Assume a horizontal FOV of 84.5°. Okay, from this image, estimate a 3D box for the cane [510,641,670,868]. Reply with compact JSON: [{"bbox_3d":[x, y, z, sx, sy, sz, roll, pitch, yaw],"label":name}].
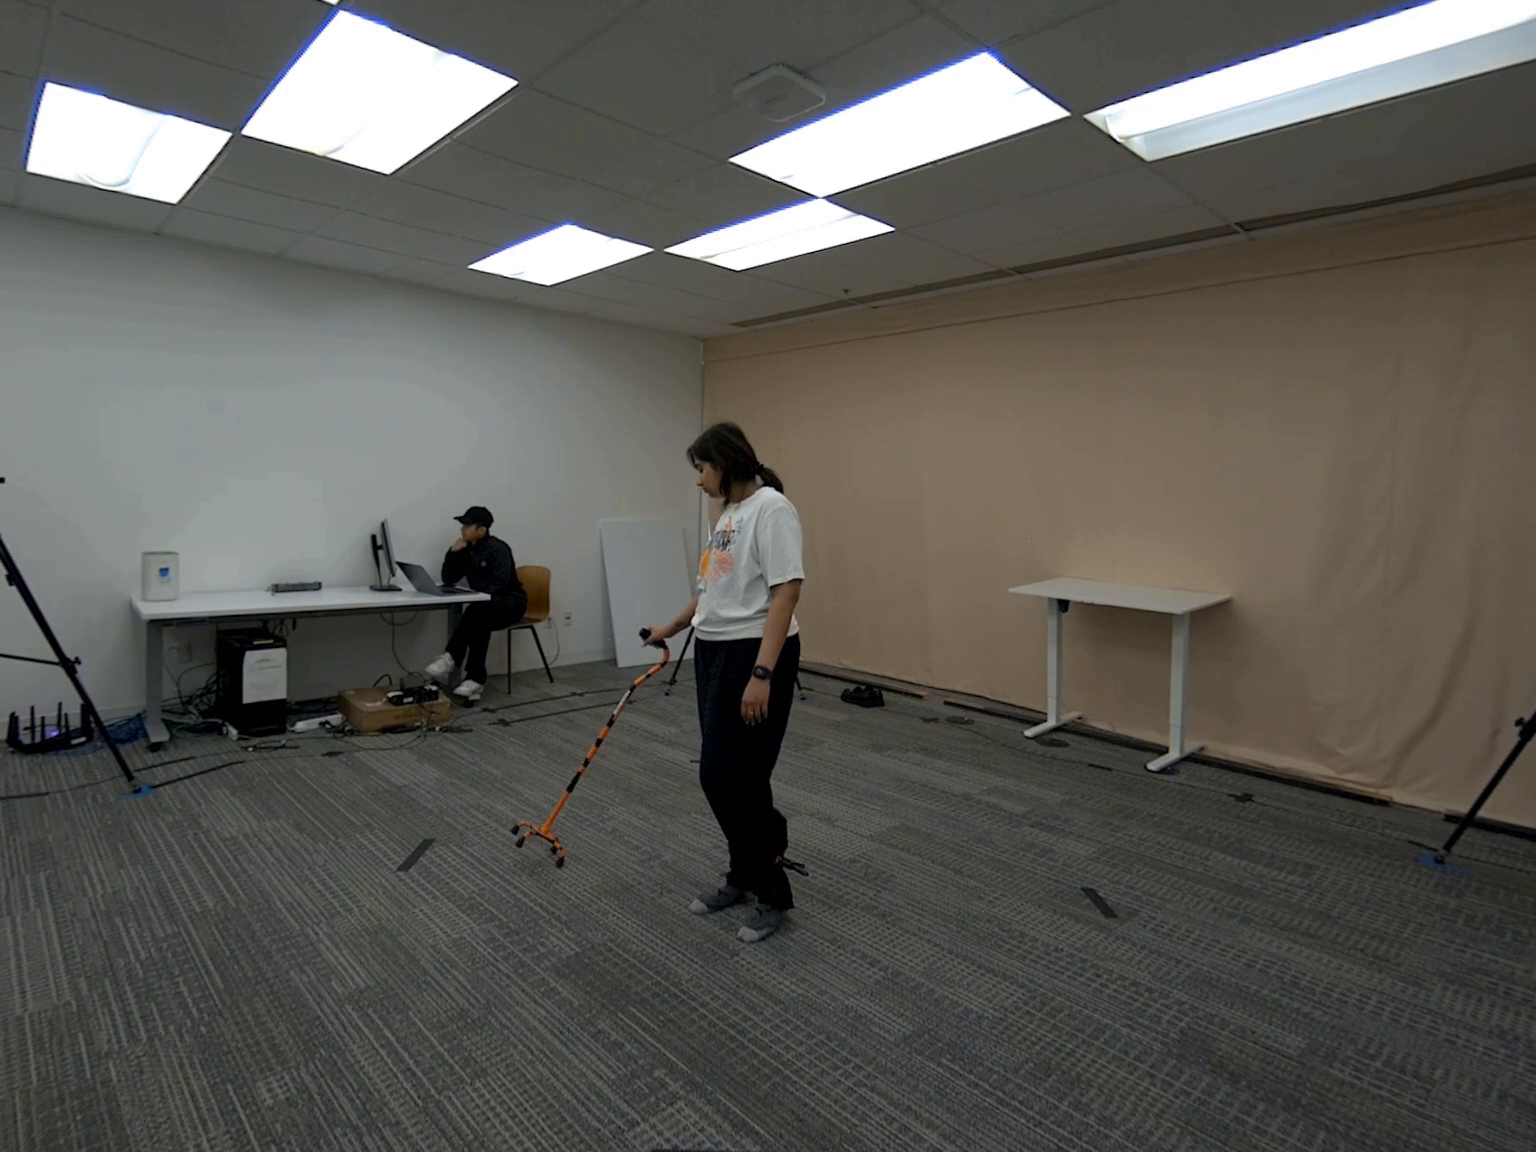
[{"bbox_3d":[-0.652,0.641,3.215,0.202,0.909,0.155,33,-8,-23],"label":"cane"}]
